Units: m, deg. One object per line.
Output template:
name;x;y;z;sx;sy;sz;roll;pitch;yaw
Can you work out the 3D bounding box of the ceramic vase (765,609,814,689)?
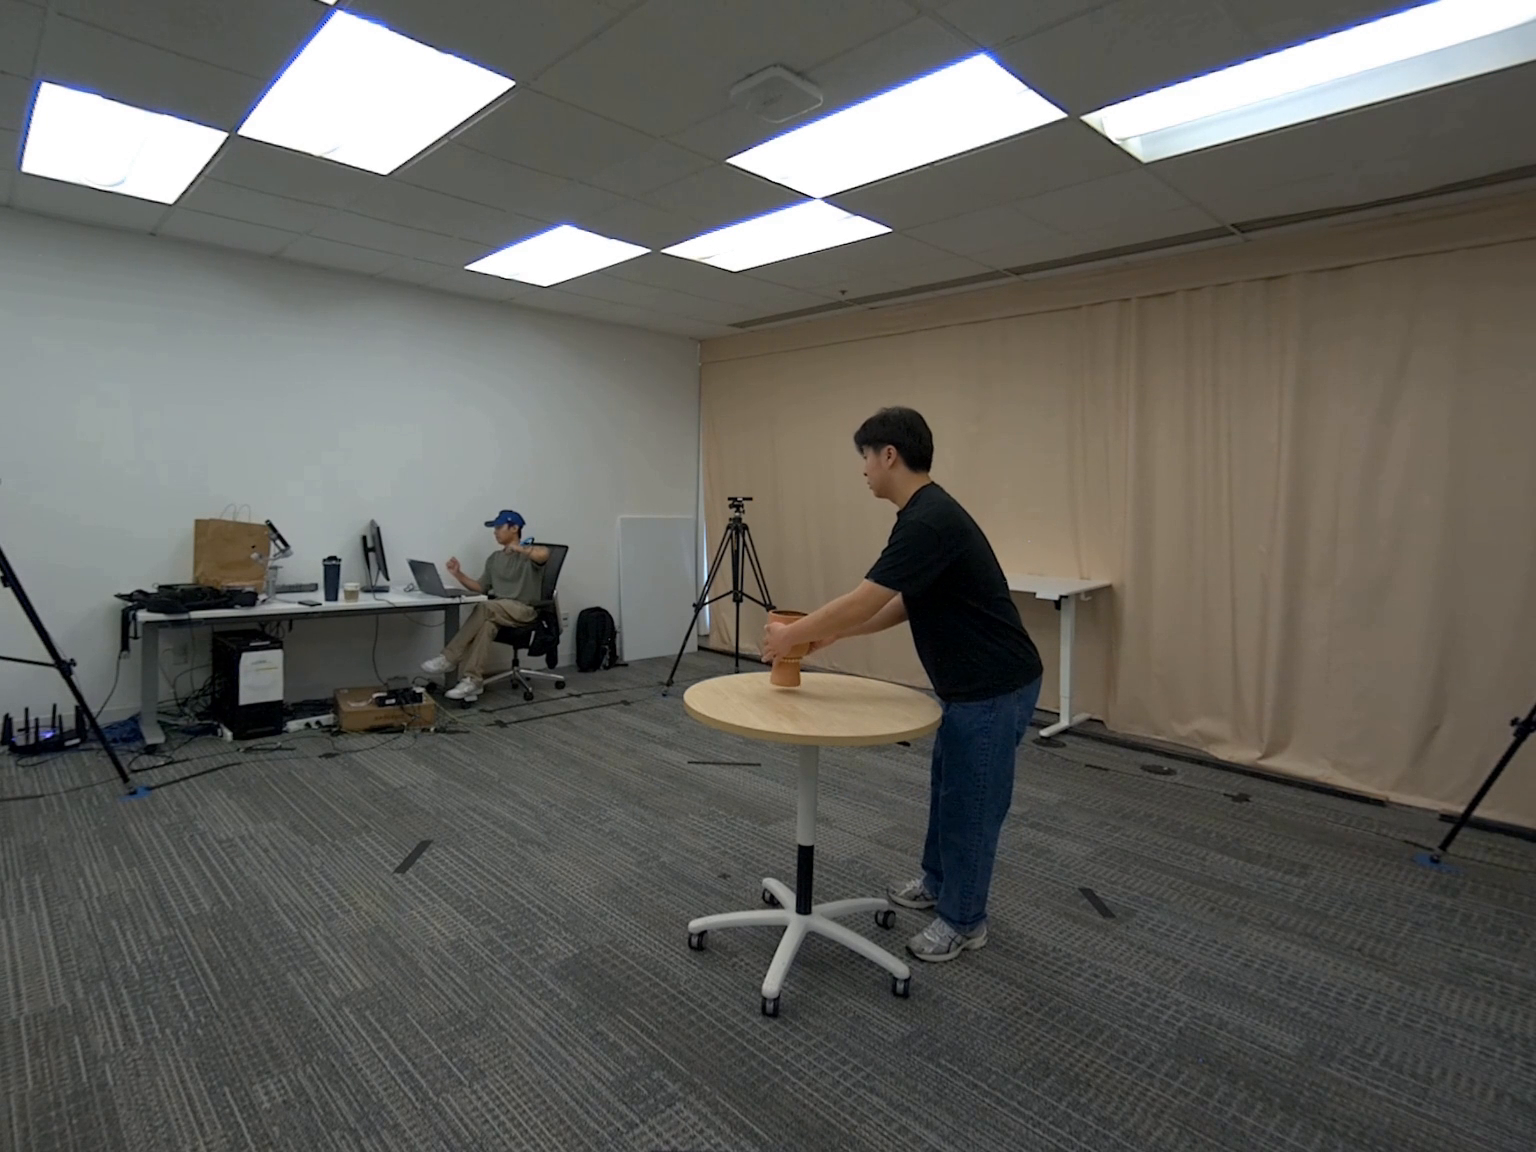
ceramic vase;0.063;0.223;2.603;0.137;0.219;0.157;6;6;20
